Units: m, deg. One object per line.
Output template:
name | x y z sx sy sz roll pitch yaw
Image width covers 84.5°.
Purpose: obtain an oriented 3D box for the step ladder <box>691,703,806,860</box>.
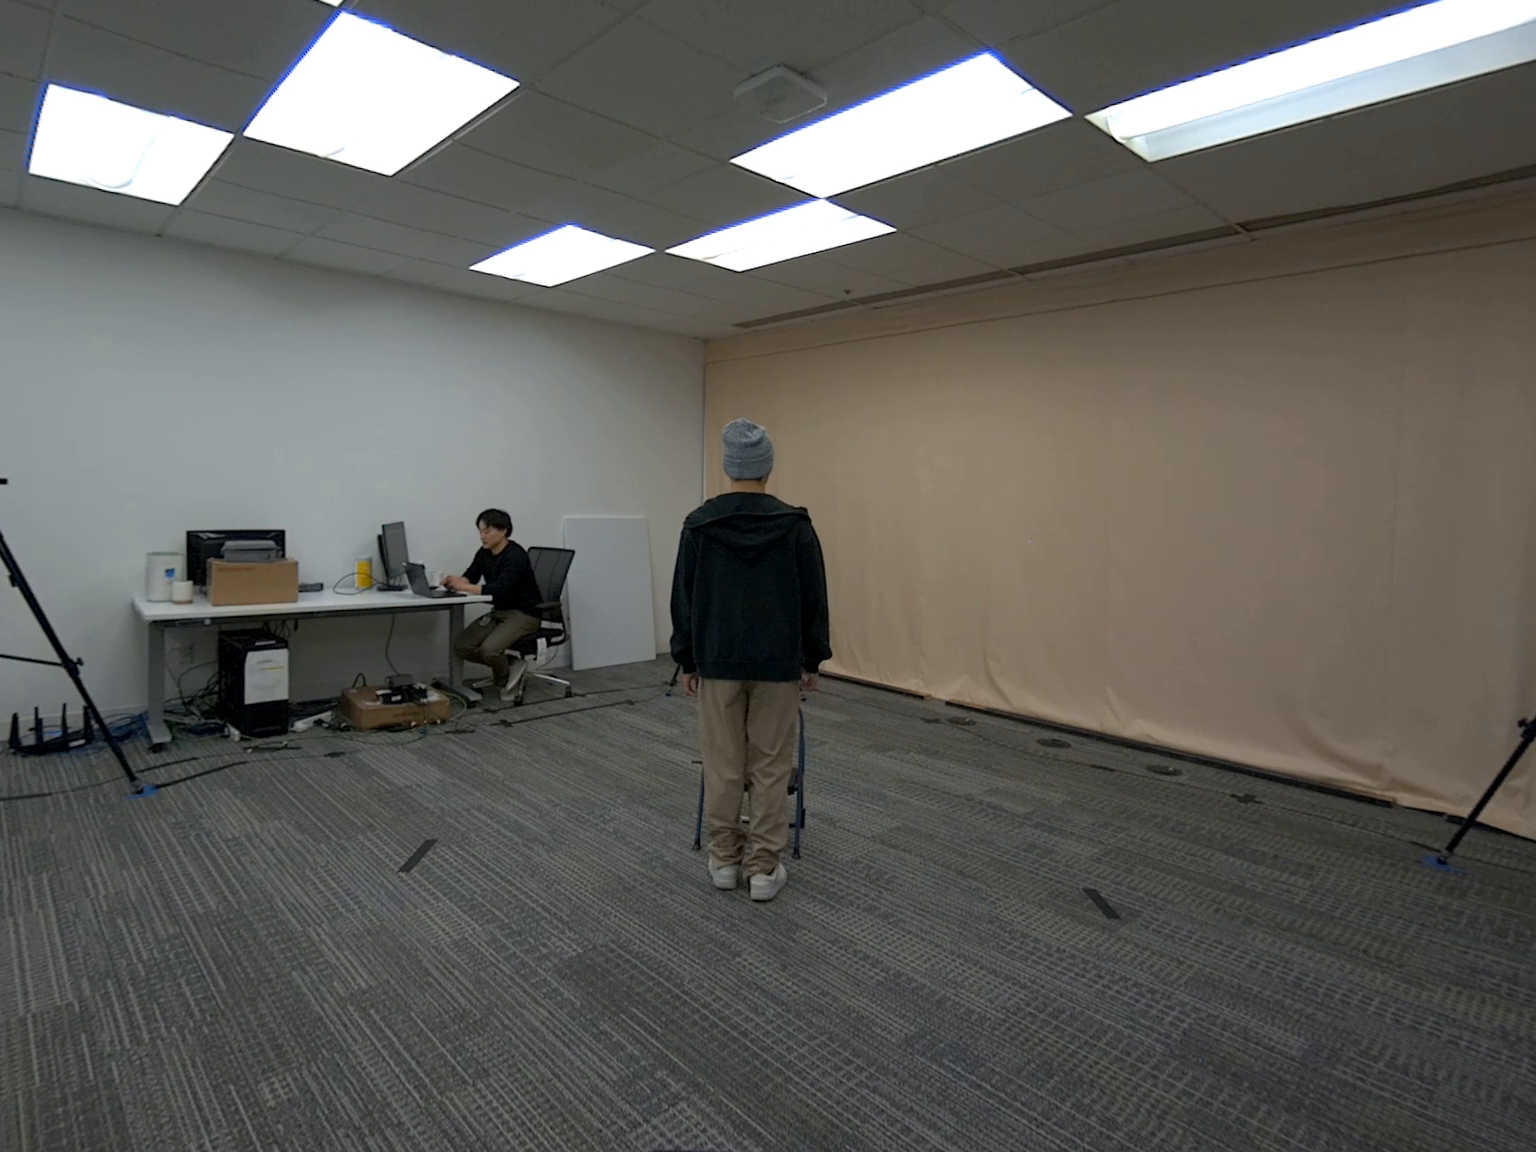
step ladder | -0.063 0.781 3.455 0.433 0.605 0.348 2 3 8
